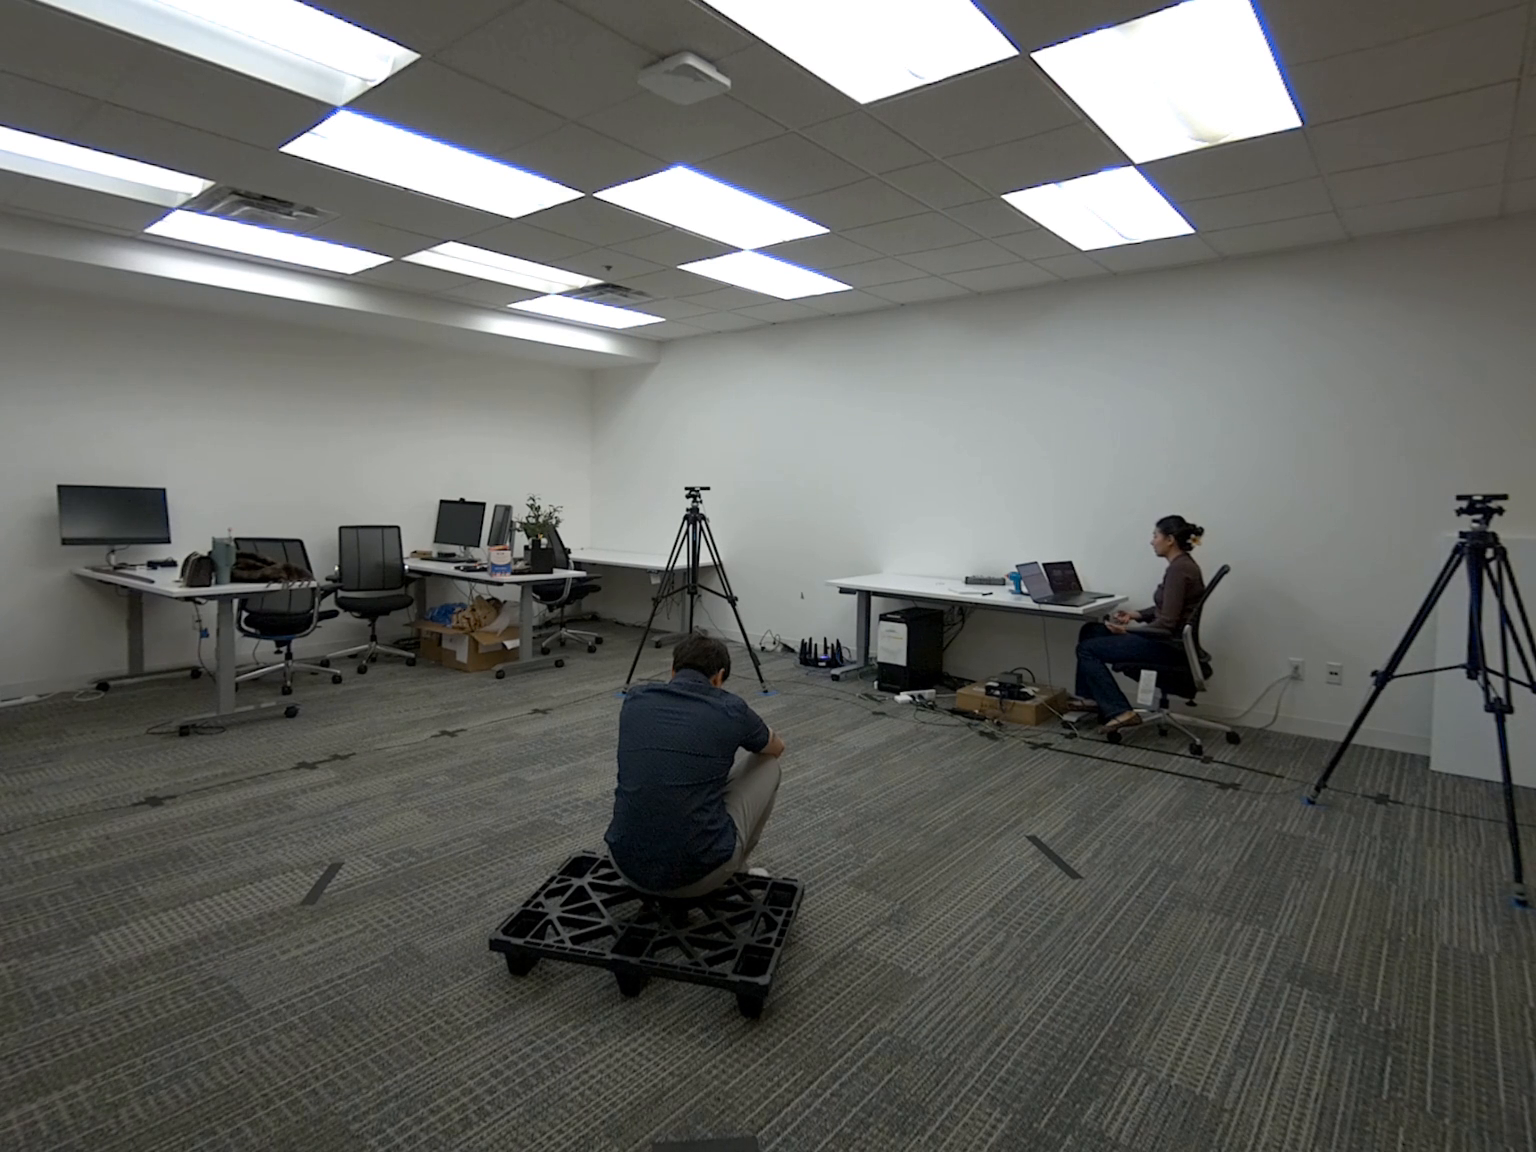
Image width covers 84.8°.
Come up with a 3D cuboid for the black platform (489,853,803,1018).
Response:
[{"bbox_3d":[-0.344,1.053,2.547,0.818,0.143,0.598,2,5,13],"label":"black platform"}]
